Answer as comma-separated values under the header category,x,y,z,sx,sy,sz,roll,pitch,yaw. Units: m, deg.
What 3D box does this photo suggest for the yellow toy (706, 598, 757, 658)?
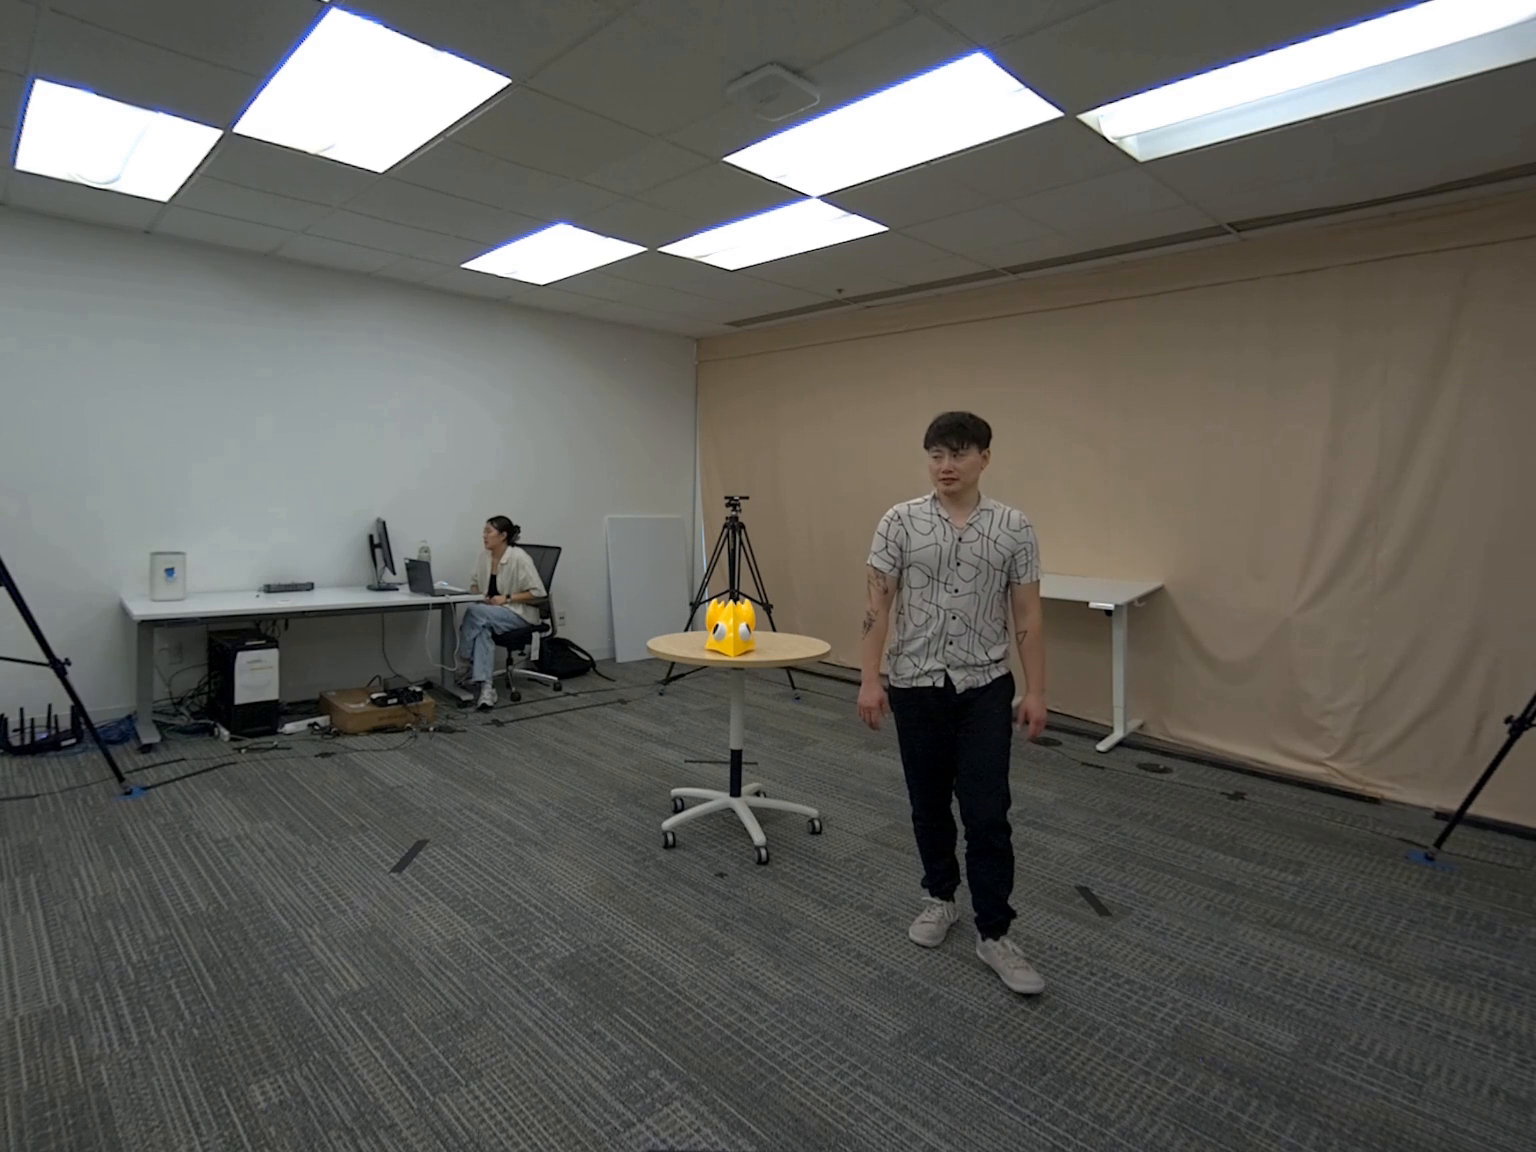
category,x,y,z,sx,sy,sz,roll,pitch,yaw
yellow toy,-0.148,0.213,3.293,0.204,0.191,0.234,1,16,-5
